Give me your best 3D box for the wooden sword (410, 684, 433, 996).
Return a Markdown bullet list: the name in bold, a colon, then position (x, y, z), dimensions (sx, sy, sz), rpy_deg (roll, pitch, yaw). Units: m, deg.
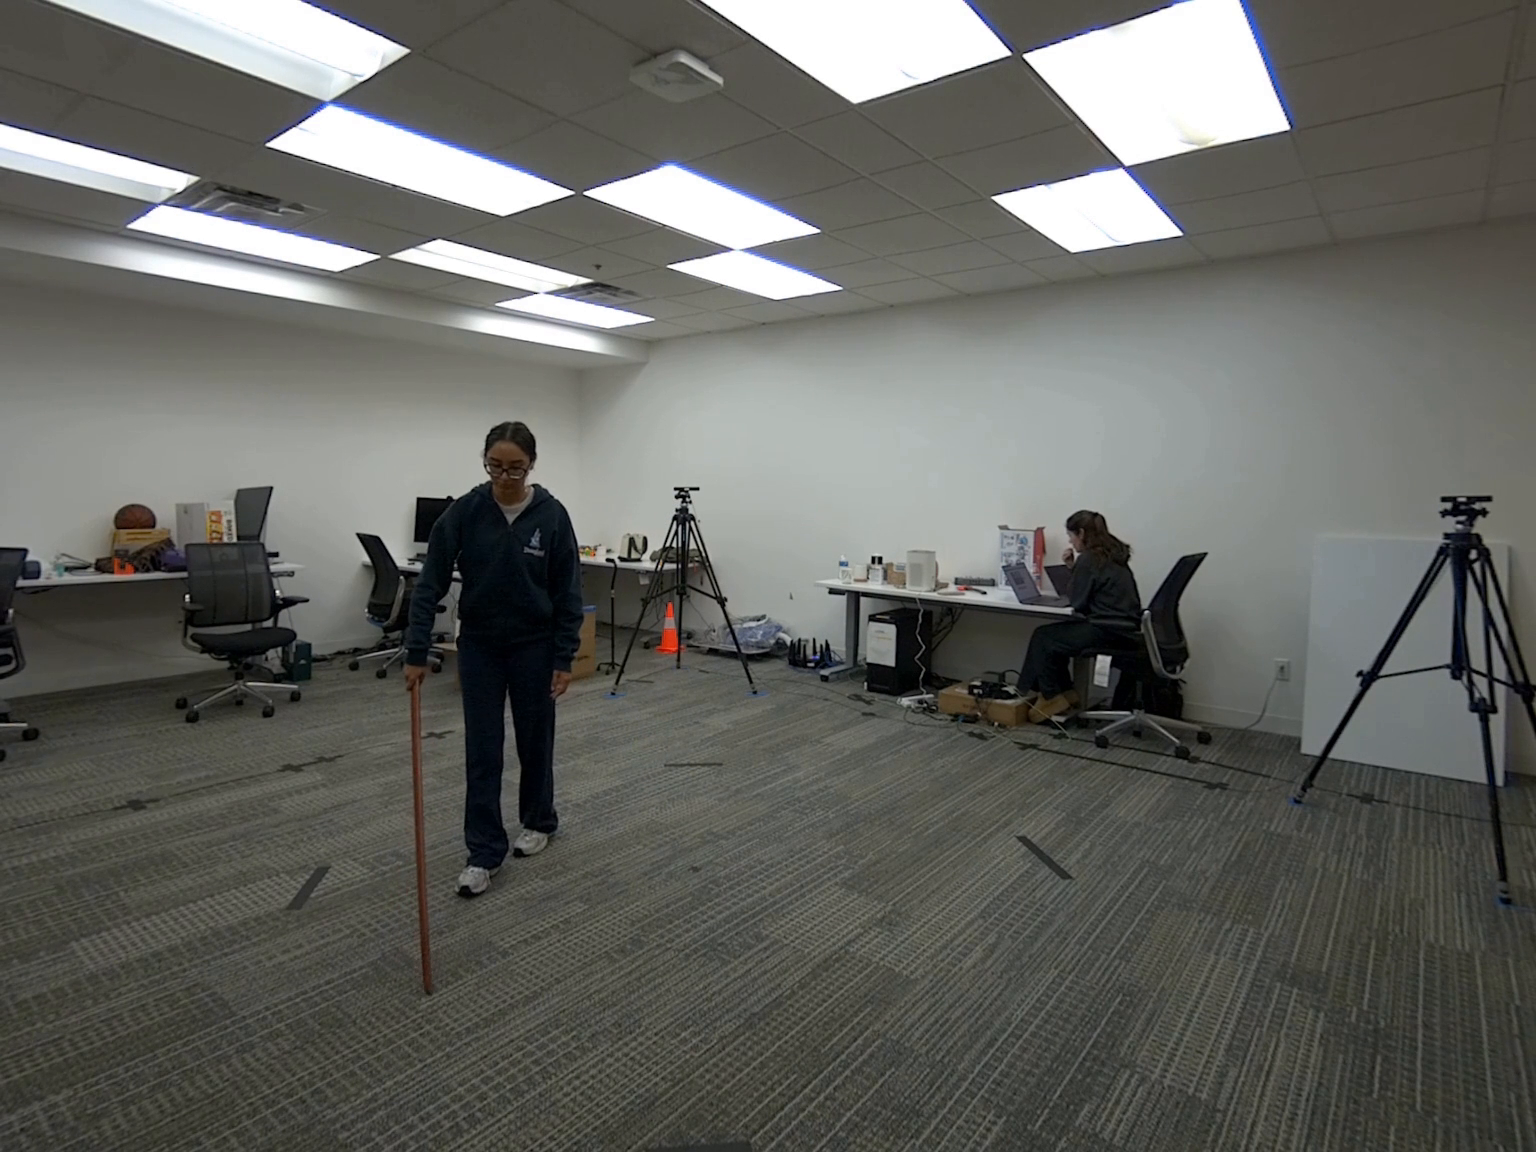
- **wooden sword**: position (-1.094, 0.727, 2.635), dimensions (0.051, 1.062, 0.023), rpy_deg (-35, -37, 18)
